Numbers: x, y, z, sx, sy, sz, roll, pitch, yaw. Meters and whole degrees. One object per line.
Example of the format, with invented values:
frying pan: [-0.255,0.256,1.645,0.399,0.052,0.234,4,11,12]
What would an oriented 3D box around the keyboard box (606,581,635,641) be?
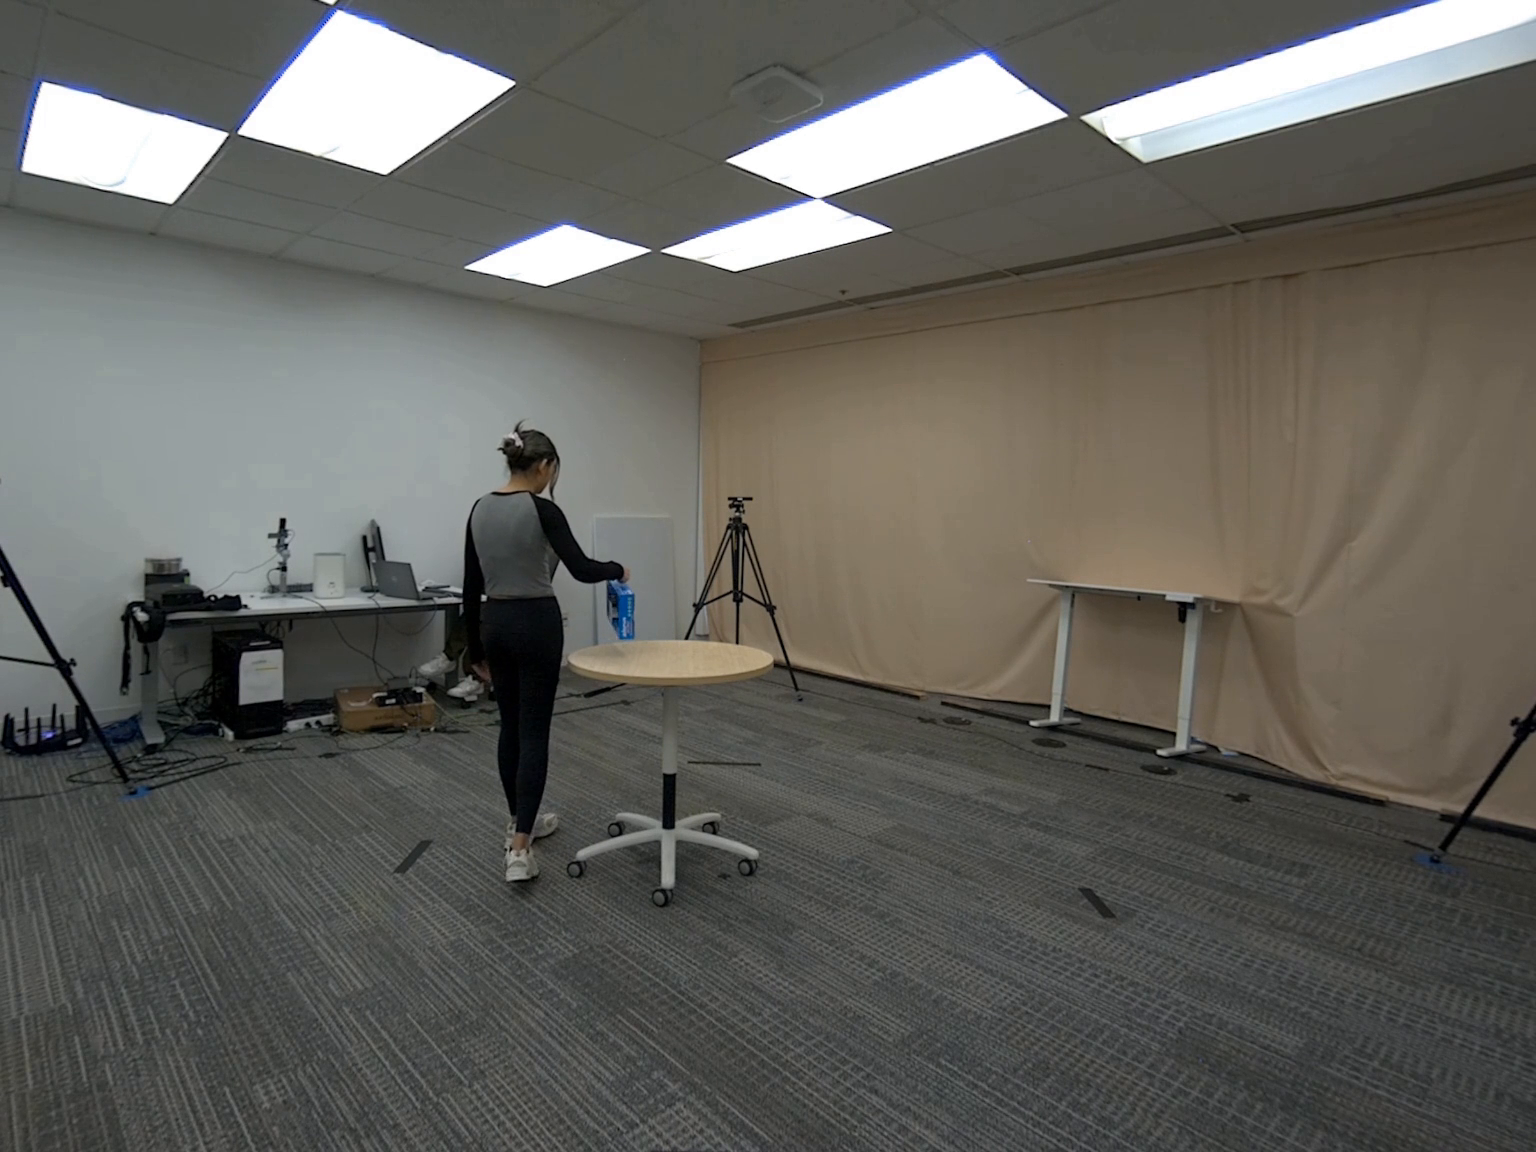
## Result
keyboard box: [-0.597,0.120,3.332,0.058,0.175,0.444,-1,9,-15]
